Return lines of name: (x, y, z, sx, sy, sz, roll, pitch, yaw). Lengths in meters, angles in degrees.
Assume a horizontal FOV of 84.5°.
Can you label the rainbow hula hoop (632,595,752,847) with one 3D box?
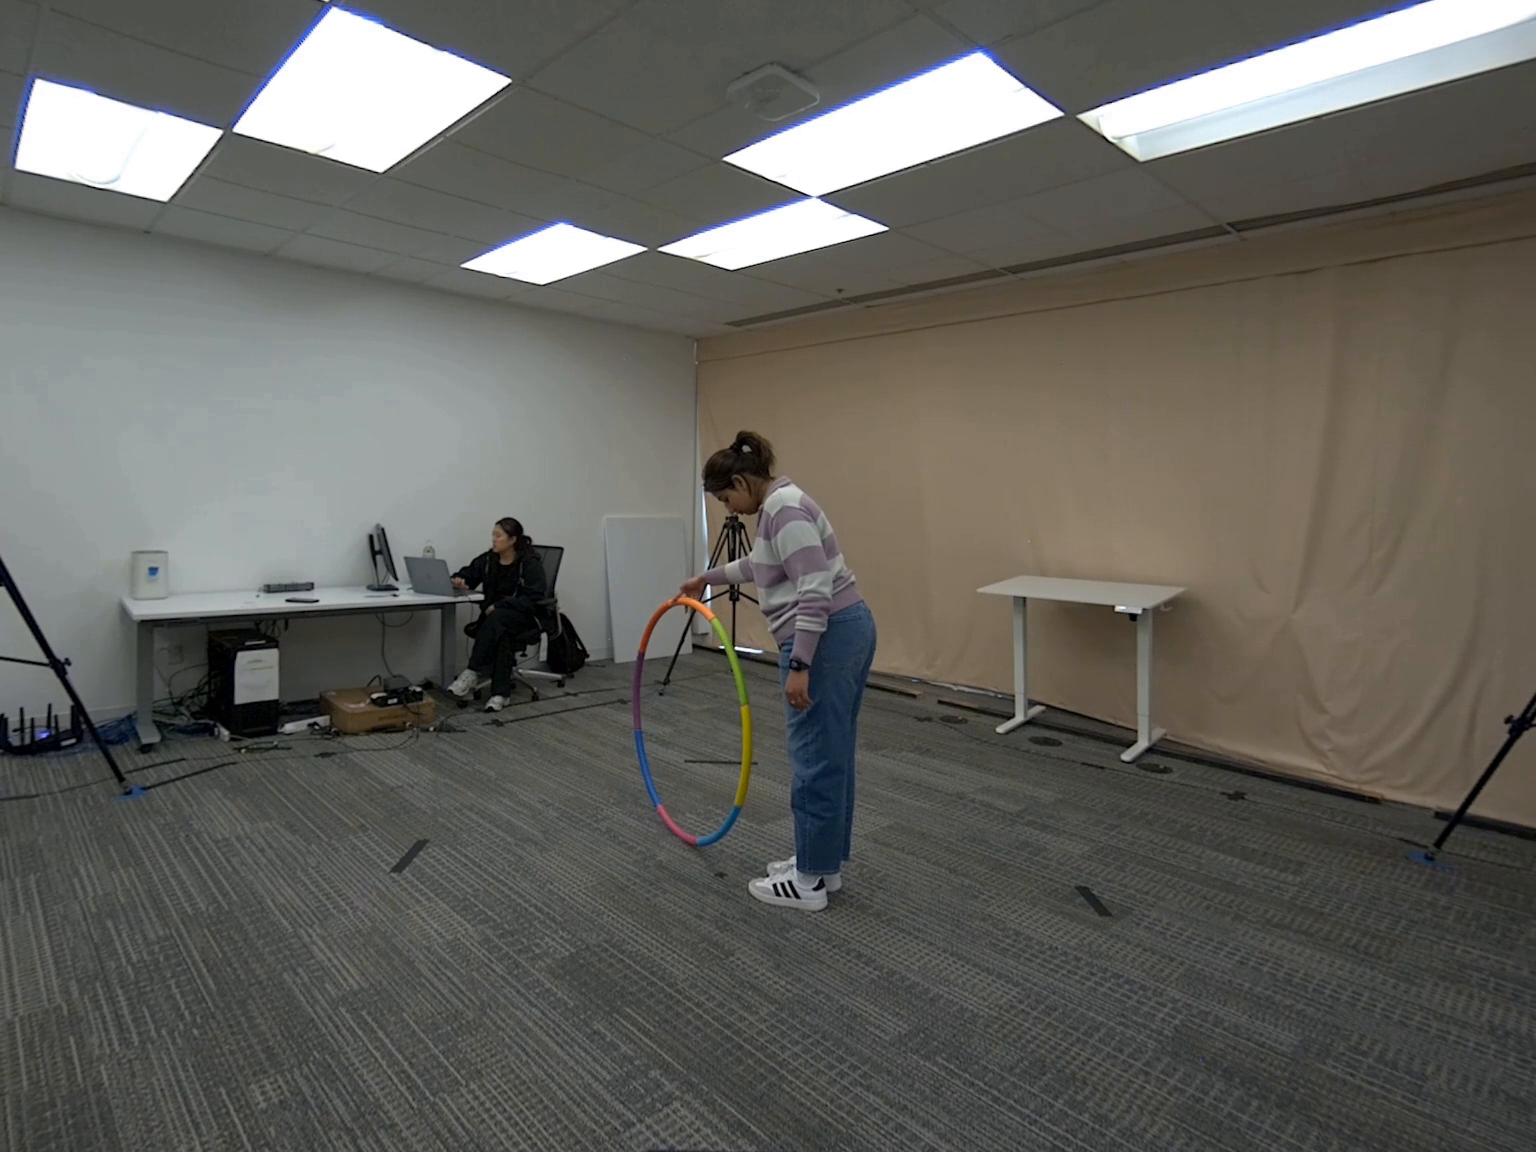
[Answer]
rainbow hula hoop: (-0.347, 0.581, 3.421, 0.035, 0.976, 1.002, 1, 4, -33)
